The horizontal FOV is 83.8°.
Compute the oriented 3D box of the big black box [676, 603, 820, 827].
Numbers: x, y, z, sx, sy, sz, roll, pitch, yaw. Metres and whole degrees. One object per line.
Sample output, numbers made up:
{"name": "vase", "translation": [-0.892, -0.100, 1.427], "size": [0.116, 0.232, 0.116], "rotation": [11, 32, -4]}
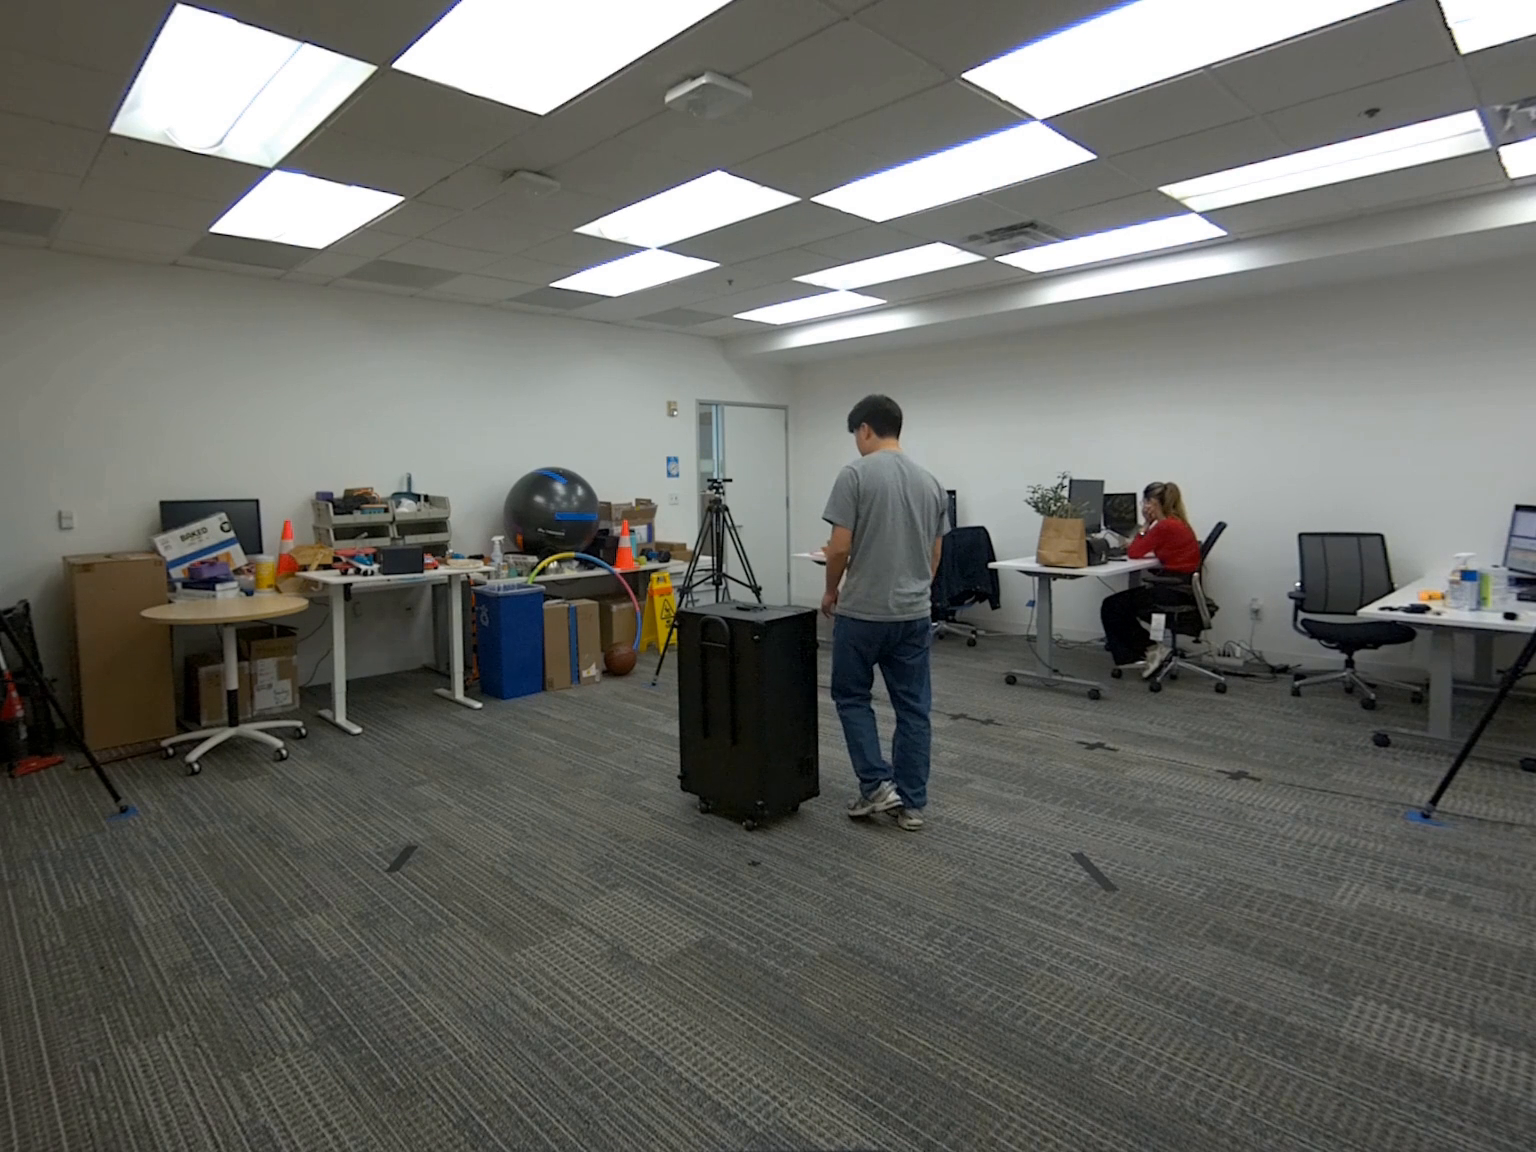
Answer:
{"name": "big black box", "translation": [-0.089, 0.567, 3.586], "size": [0.537, 0.858, 0.386], "rotation": [3, 6, 43]}
